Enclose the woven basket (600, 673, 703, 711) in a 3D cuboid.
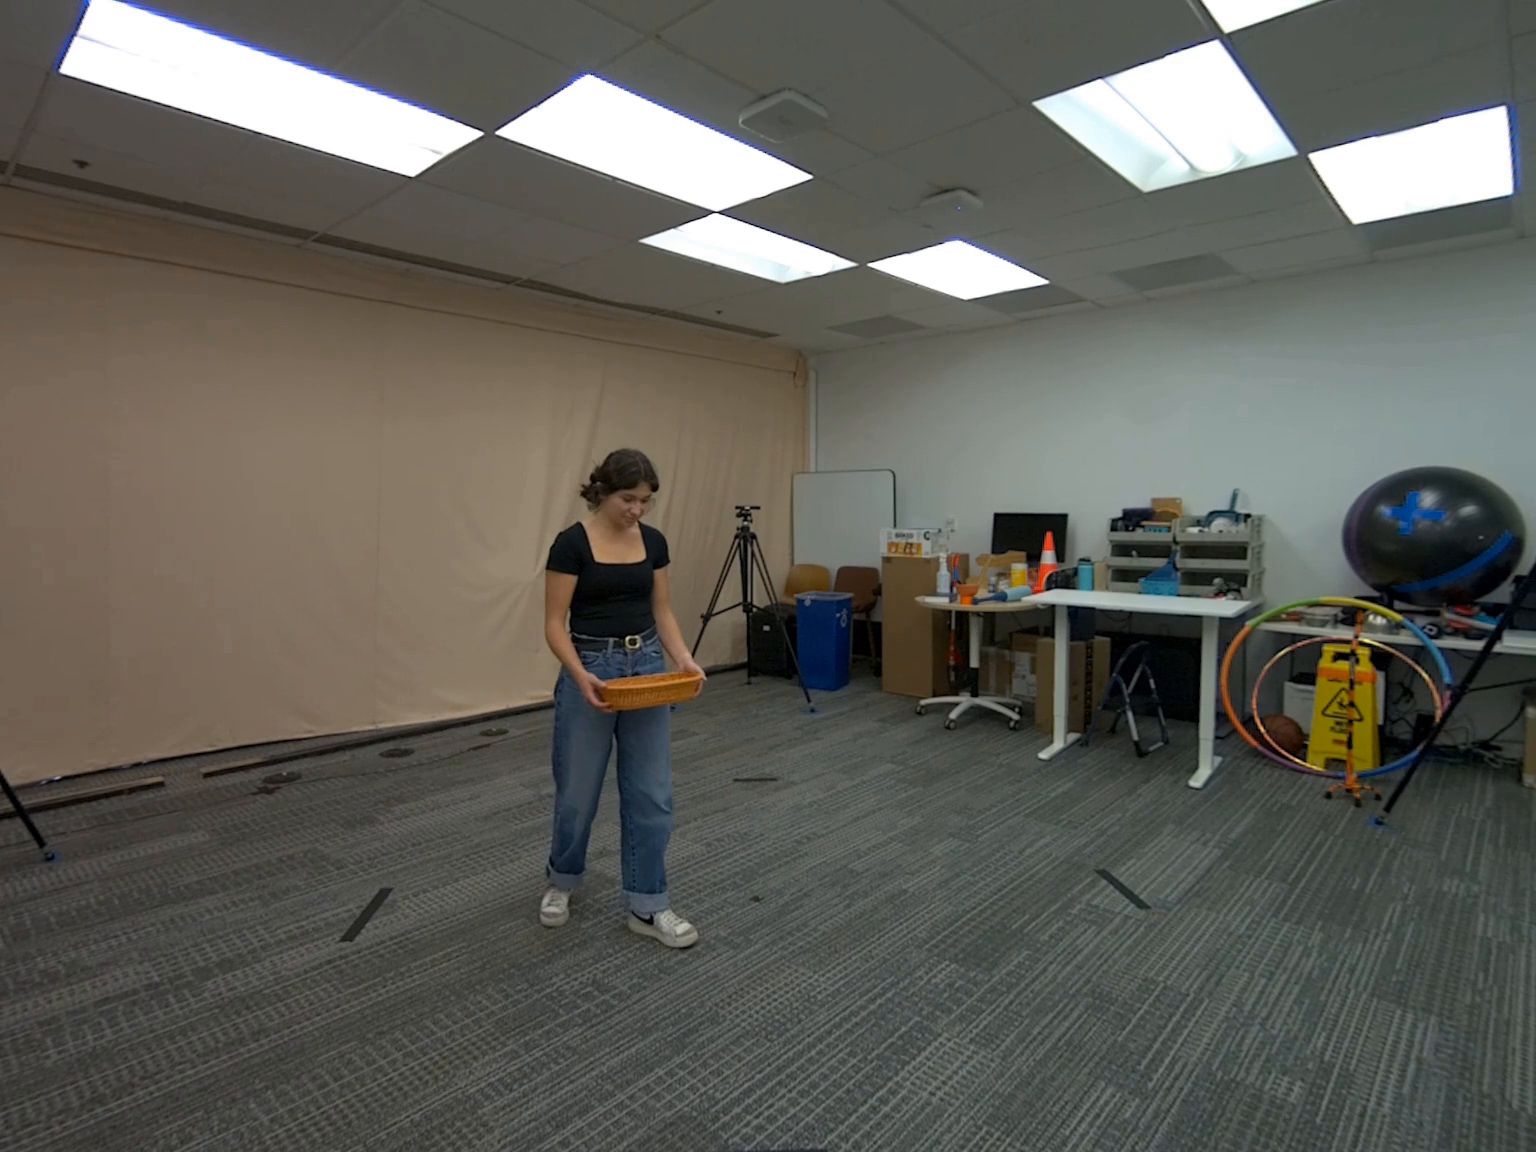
[{"bbox_3d":[-0.381,0.350,2.550,0.340,0.073,0.260,-5,1,-38],"label":"woven basket"}]
